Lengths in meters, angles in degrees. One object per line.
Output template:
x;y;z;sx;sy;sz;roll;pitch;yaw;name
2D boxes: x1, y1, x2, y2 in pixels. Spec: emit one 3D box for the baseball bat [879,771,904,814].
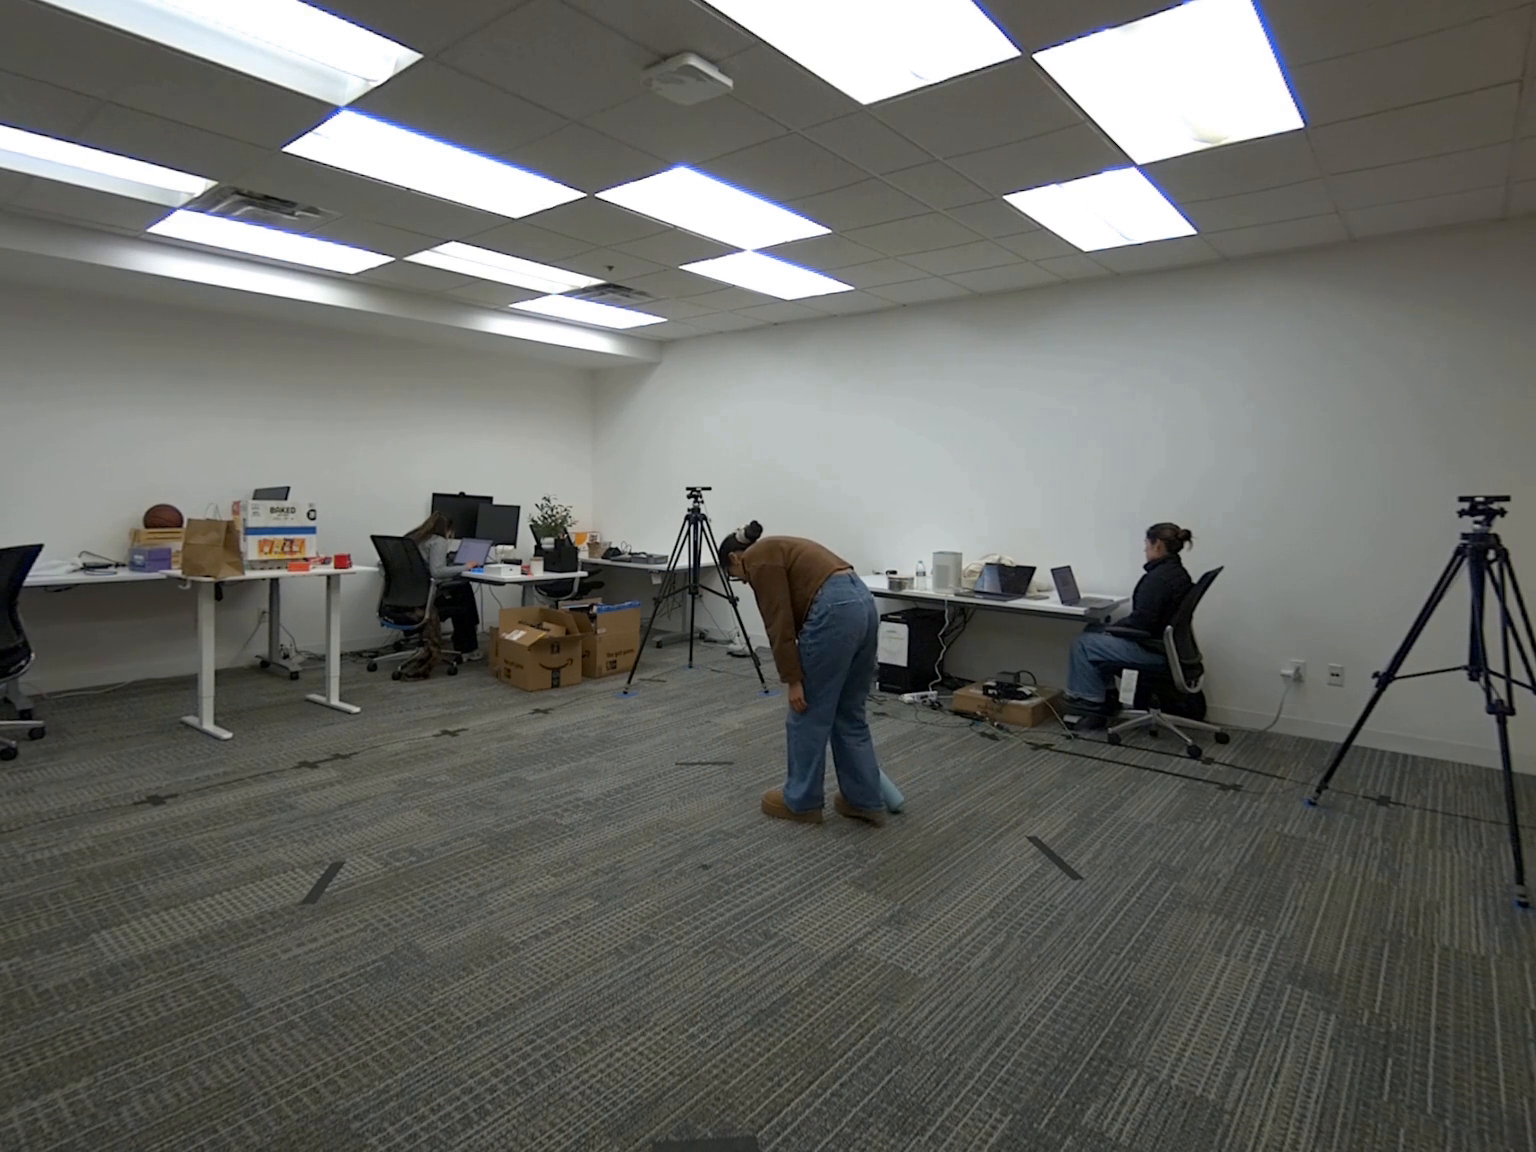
0.391;0.800;3.774;0.558;0.089;0.087;50;25;20;baseball bat
